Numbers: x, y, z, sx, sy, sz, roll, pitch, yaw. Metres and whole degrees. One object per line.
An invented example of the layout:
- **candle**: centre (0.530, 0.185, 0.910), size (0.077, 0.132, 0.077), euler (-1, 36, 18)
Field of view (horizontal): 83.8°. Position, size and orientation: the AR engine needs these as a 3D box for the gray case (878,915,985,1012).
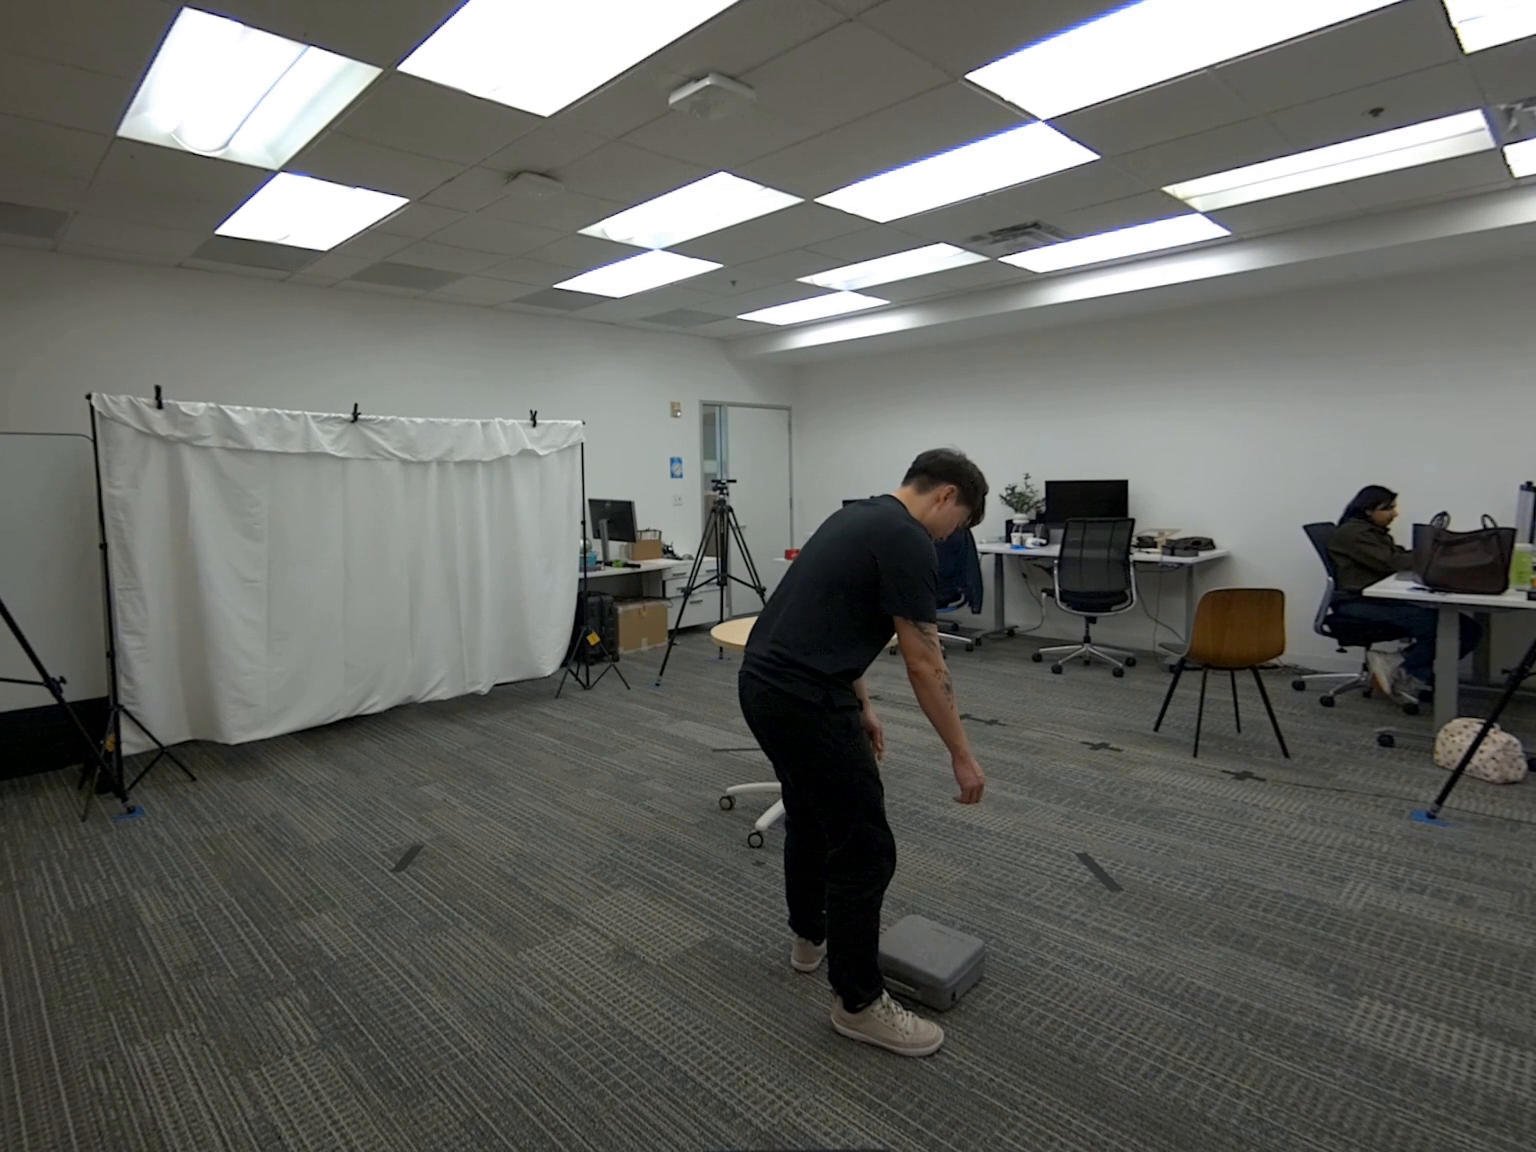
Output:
- **gray case**: centre (0.447, 1.066, 2.373), size (0.265, 0.104, 0.254), euler (5, 9, 41)
